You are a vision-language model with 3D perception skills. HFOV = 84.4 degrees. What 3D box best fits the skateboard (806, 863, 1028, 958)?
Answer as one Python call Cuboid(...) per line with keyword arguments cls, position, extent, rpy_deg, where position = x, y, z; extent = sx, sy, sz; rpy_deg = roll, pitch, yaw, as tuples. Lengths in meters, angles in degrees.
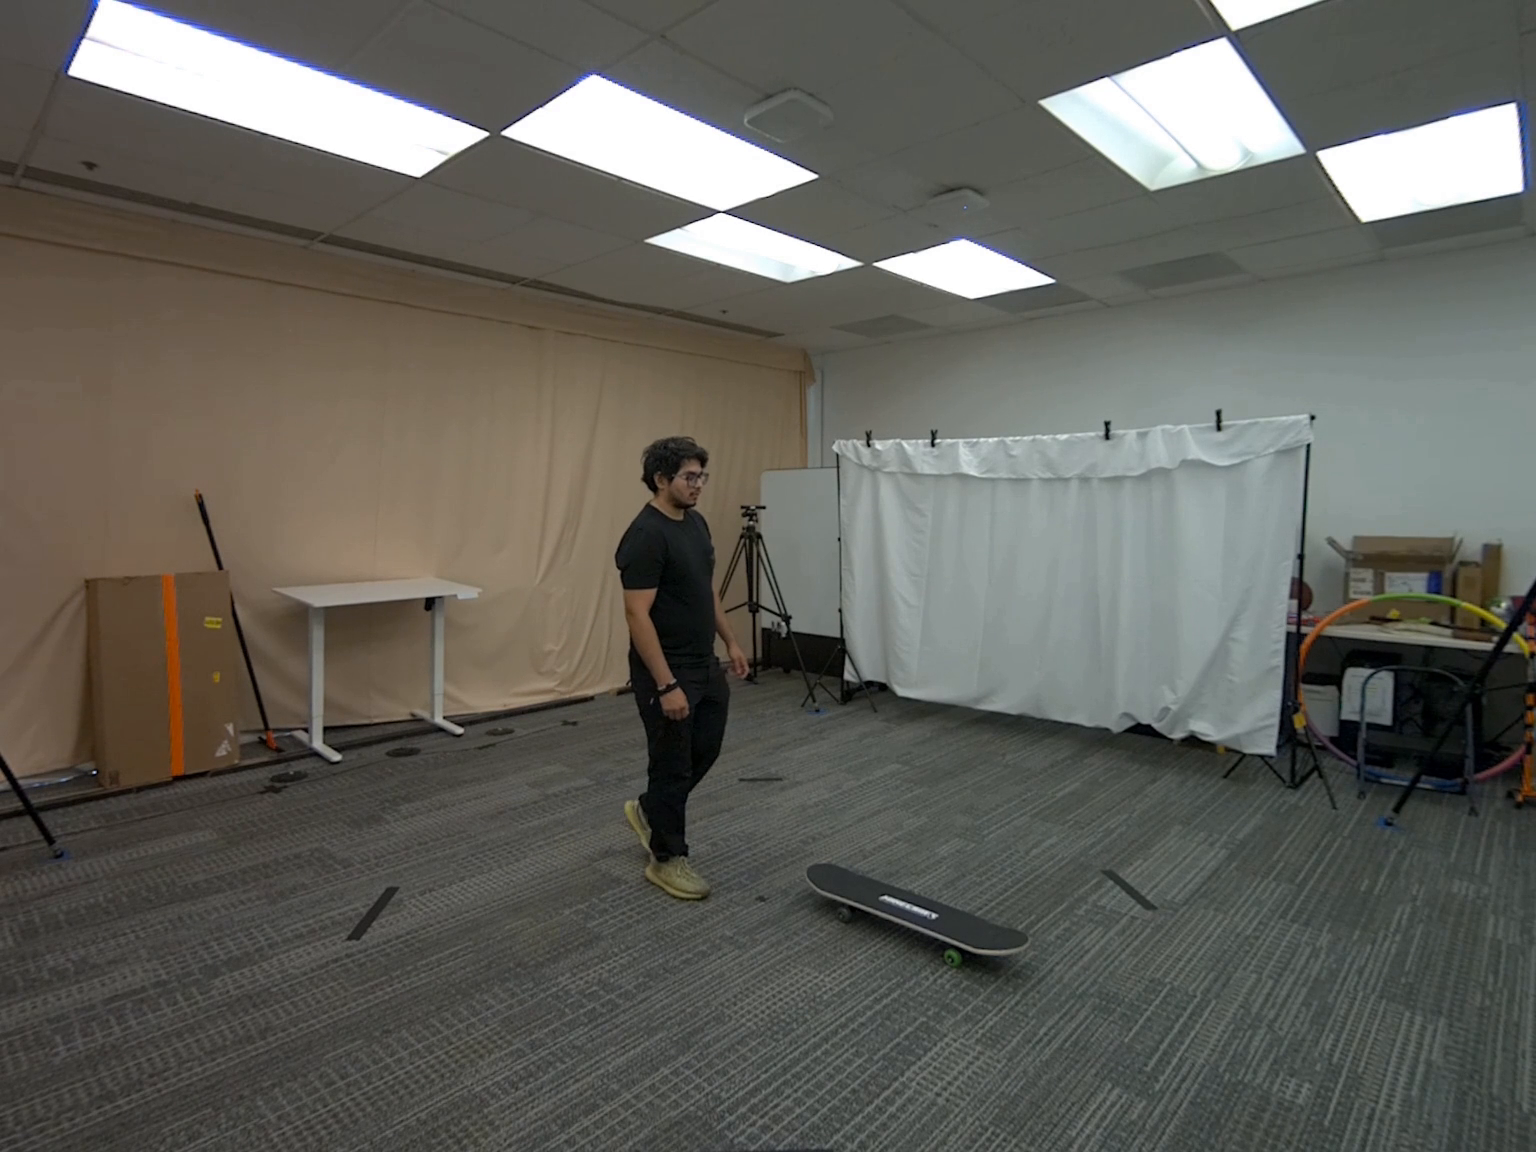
Cuboid(cls="skateboard", position=(0.461, 1.104, 2.735), extent=(0.812, 0.110, 0.187), rpy_deg=(4, 6, 42))
